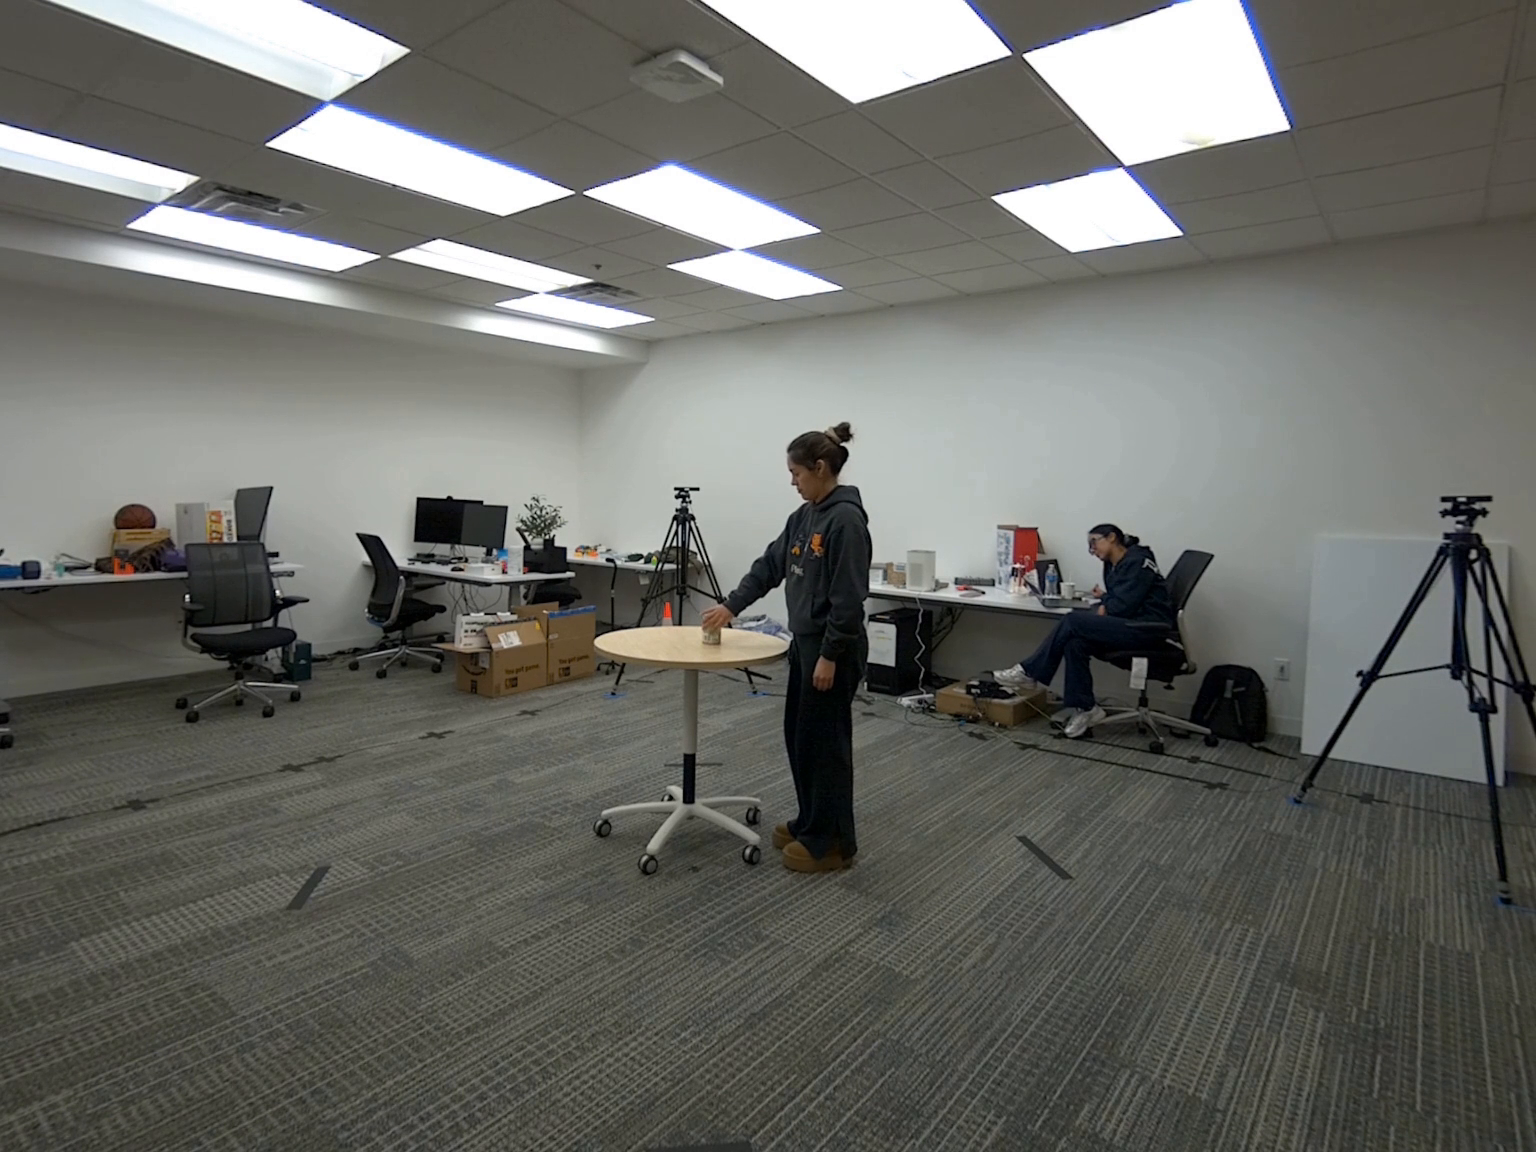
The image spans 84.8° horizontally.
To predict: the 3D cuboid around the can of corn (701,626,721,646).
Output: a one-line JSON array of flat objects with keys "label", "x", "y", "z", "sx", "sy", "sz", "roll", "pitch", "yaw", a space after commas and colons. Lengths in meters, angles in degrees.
[{"label": "can of corn", "x": -0.230, "y": 0.206, "z": 3.354, "sx": 0.074, "sy": 0.110, "sz": 0.075, "roll": 5, "pitch": 5, "yaw": -2}]
